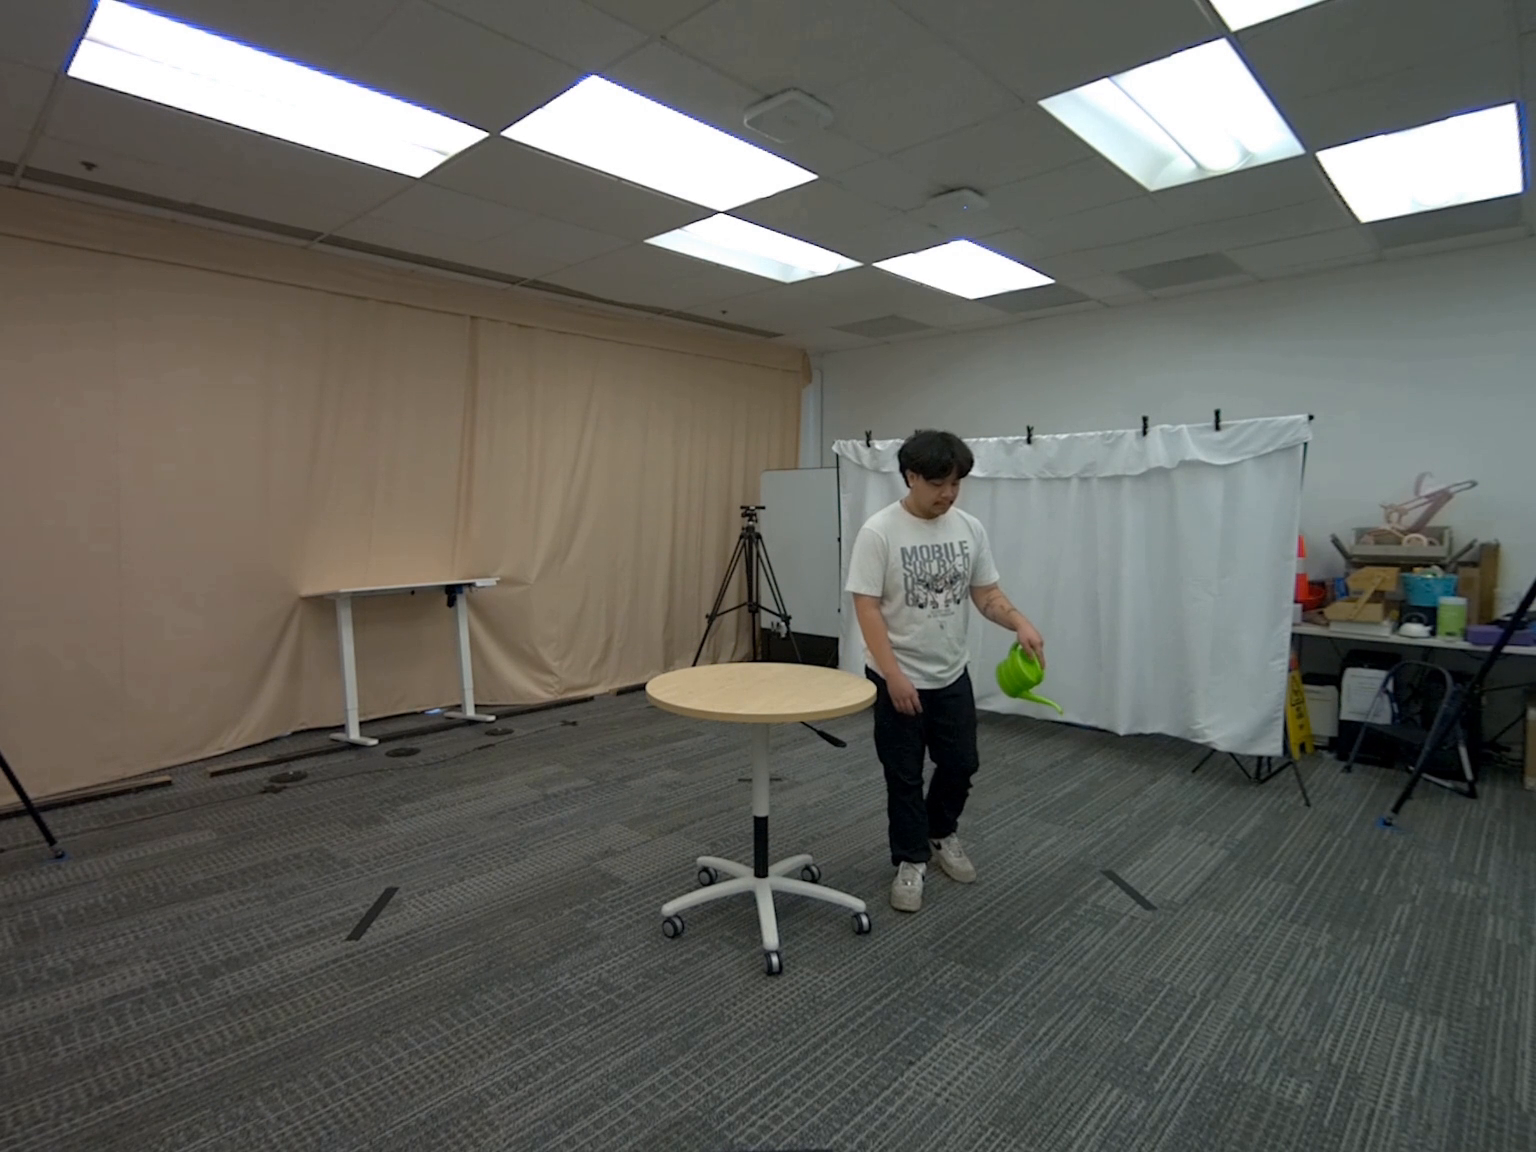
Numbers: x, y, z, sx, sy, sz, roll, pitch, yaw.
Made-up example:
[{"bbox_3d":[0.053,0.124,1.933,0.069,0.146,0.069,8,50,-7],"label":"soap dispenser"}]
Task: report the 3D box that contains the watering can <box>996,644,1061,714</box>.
[{"bbox_3d":[0.864,0.355,2.773,0.096,0.283,0.176,5,-32,-16],"label":"watering can"}]
